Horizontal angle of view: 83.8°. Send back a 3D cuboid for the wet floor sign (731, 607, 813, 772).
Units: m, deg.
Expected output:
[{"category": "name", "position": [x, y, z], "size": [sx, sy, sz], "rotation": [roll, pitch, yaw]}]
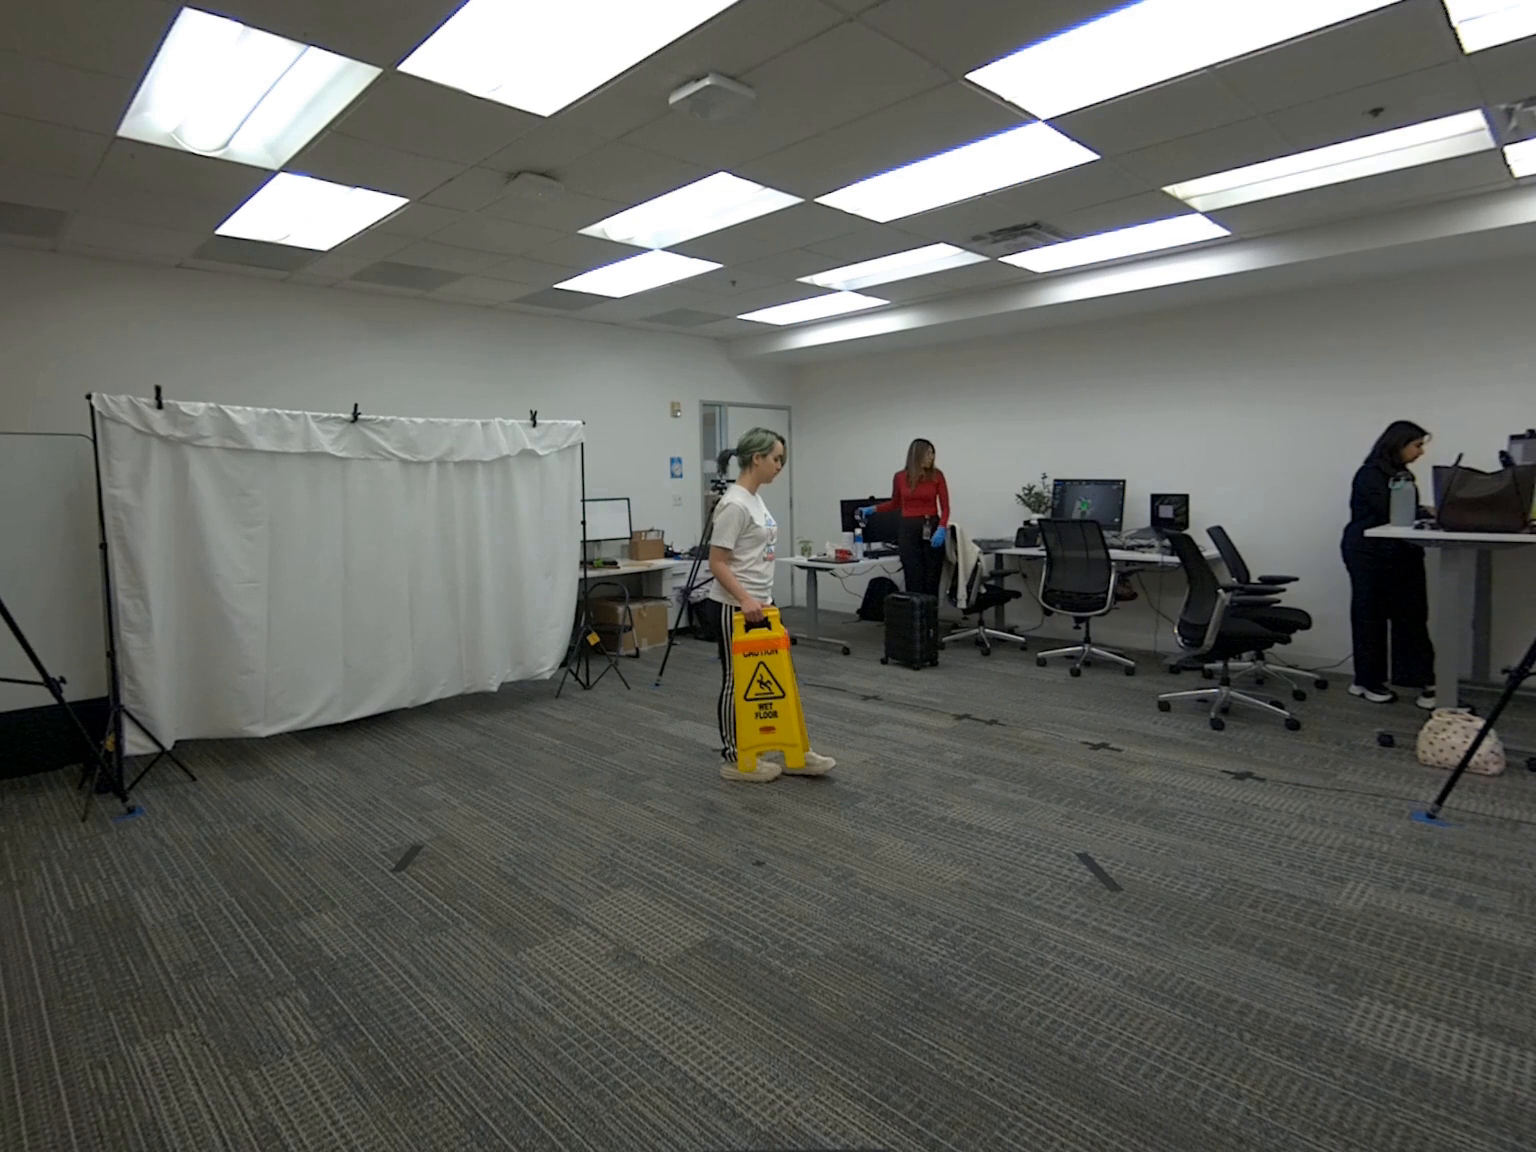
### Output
[{"category": "wet floor sign", "position": [-0.019, 0.474, 3.647], "size": [0.285, 0.646, 0.287], "rotation": [-8, 1, 10]}]
